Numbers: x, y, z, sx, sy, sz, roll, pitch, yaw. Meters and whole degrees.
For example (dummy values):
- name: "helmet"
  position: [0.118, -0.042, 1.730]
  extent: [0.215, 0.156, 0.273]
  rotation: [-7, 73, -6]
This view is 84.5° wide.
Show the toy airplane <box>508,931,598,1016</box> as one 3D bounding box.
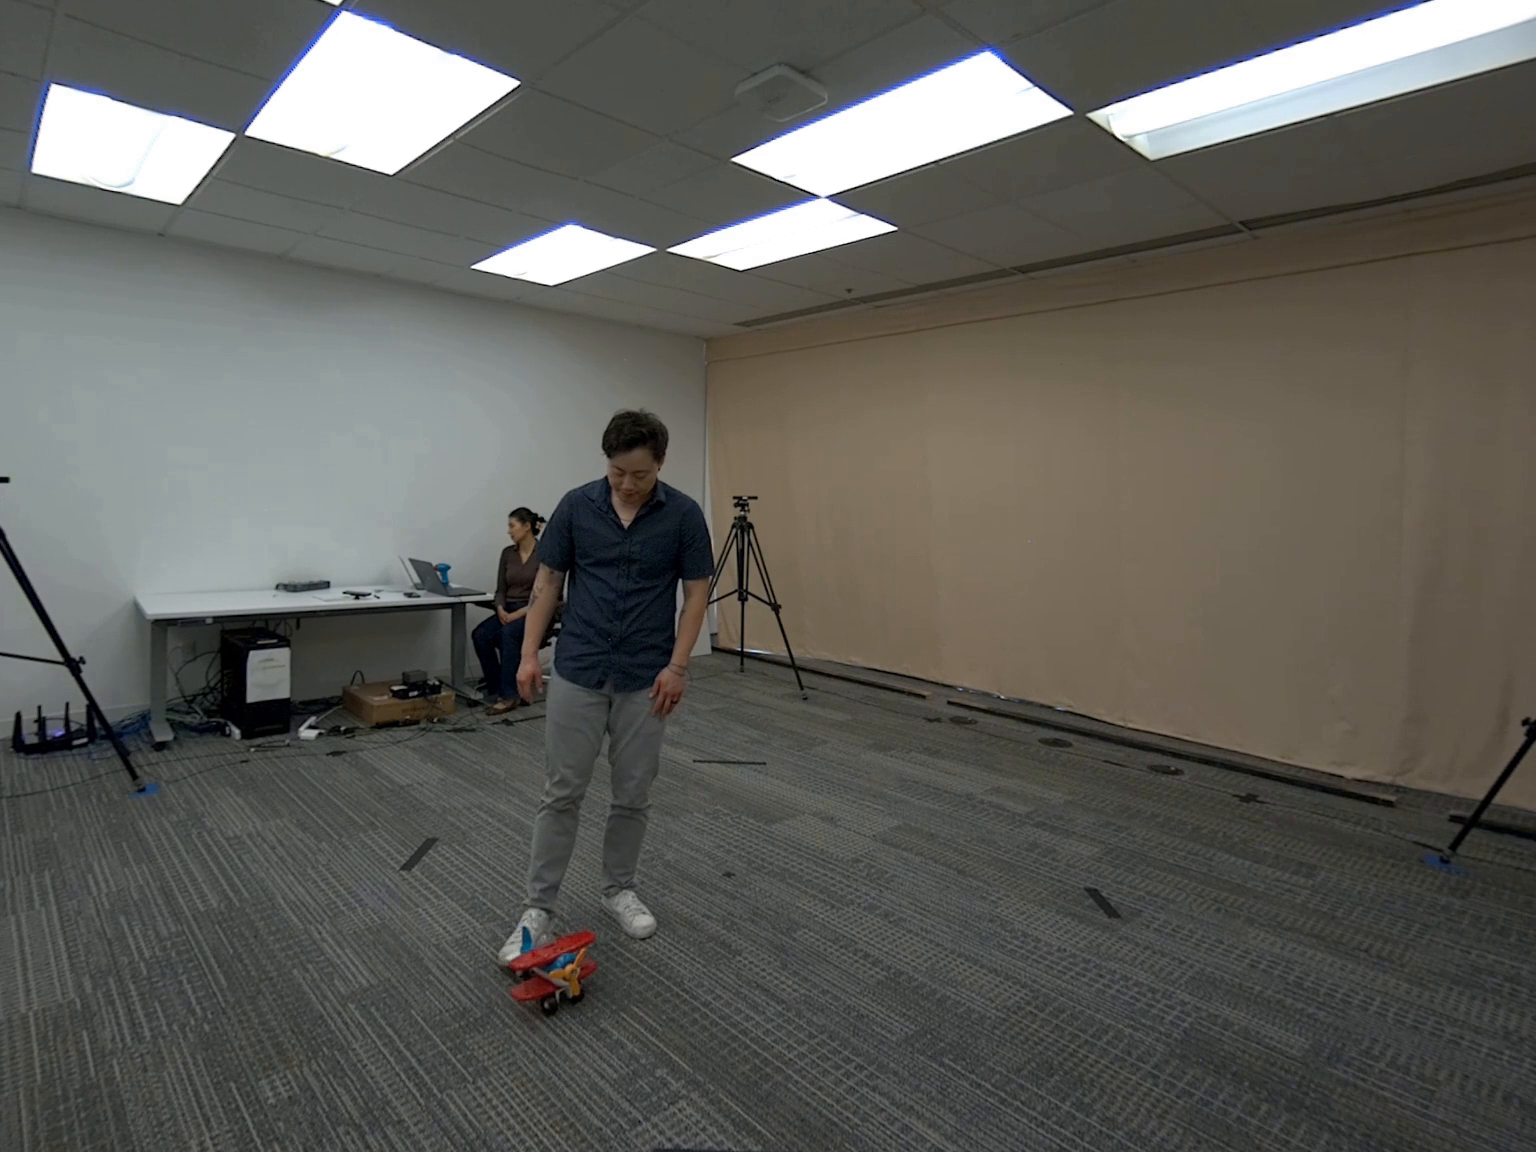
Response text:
- name: "toy airplane"
  position: [-0.632, 1.087, 2.312]
  extent: [0.263, 0.155, 0.249]
  rotation: [7, 9, 17]
